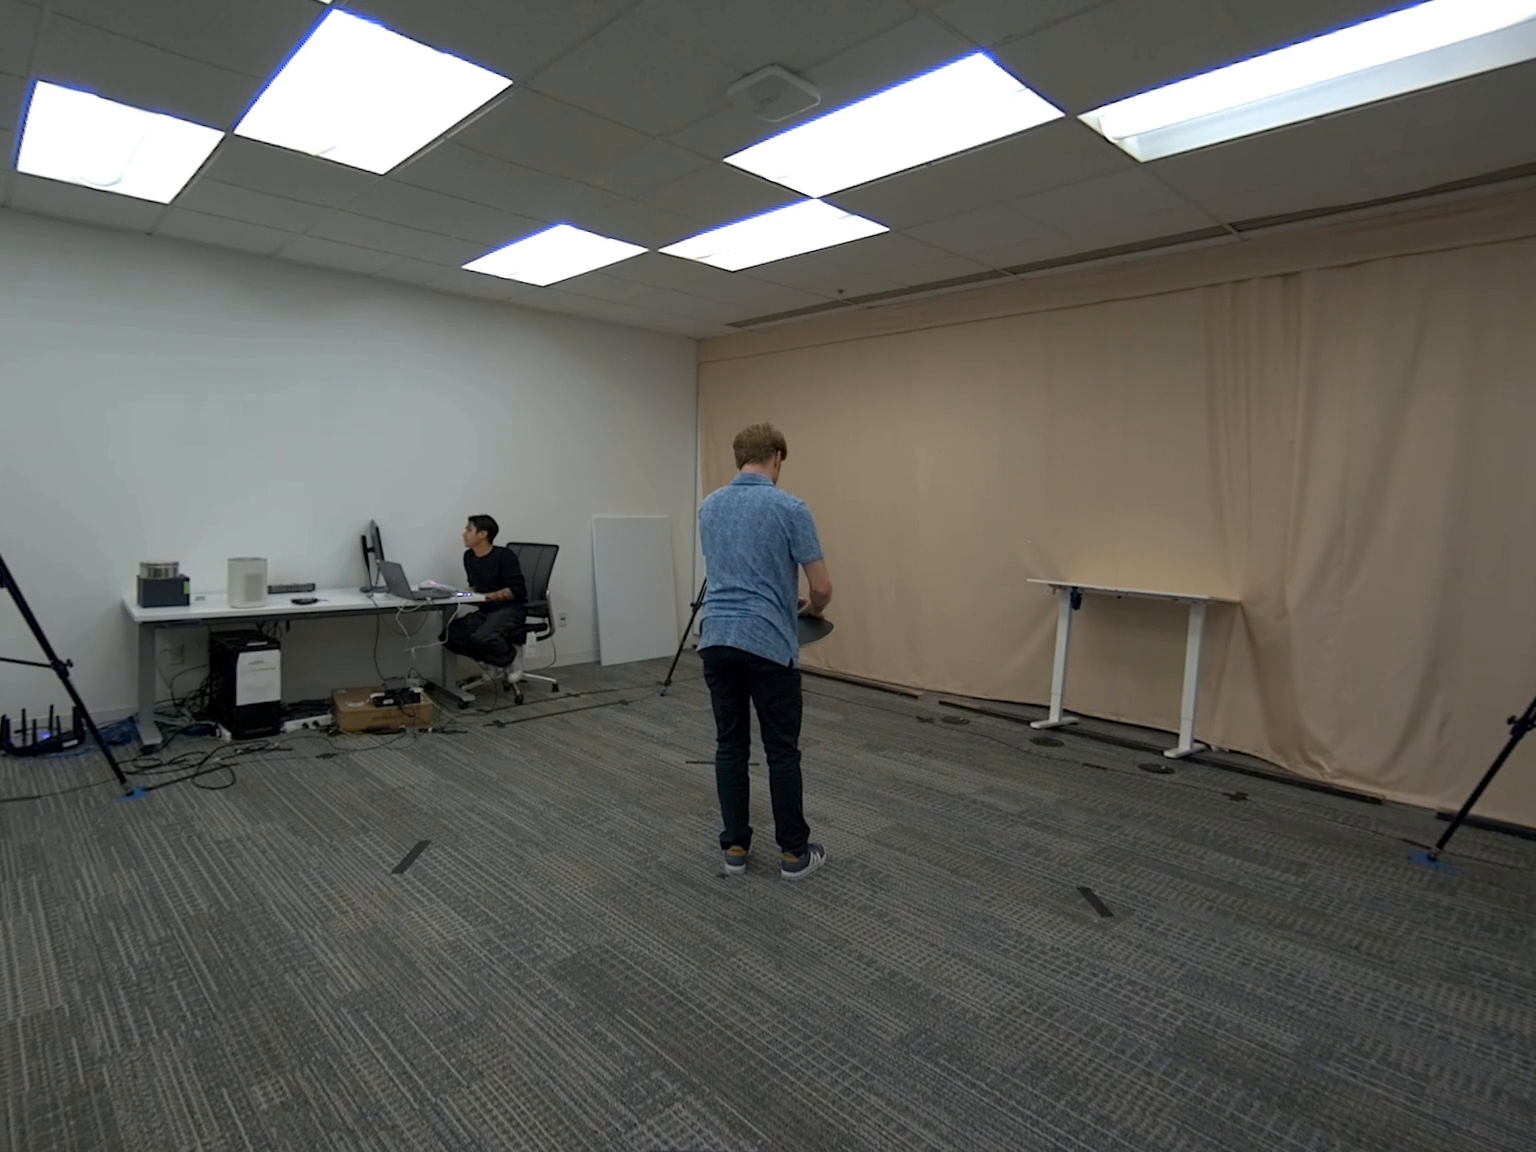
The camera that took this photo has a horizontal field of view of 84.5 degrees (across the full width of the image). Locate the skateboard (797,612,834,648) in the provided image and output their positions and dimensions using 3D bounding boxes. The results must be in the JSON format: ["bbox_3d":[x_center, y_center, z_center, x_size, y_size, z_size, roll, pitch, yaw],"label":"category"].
[{"bbox_3d":[0.035,0.189,3.502,0.192,0.108,0.807,-31,27,-18],"label":"skateboard"}]
